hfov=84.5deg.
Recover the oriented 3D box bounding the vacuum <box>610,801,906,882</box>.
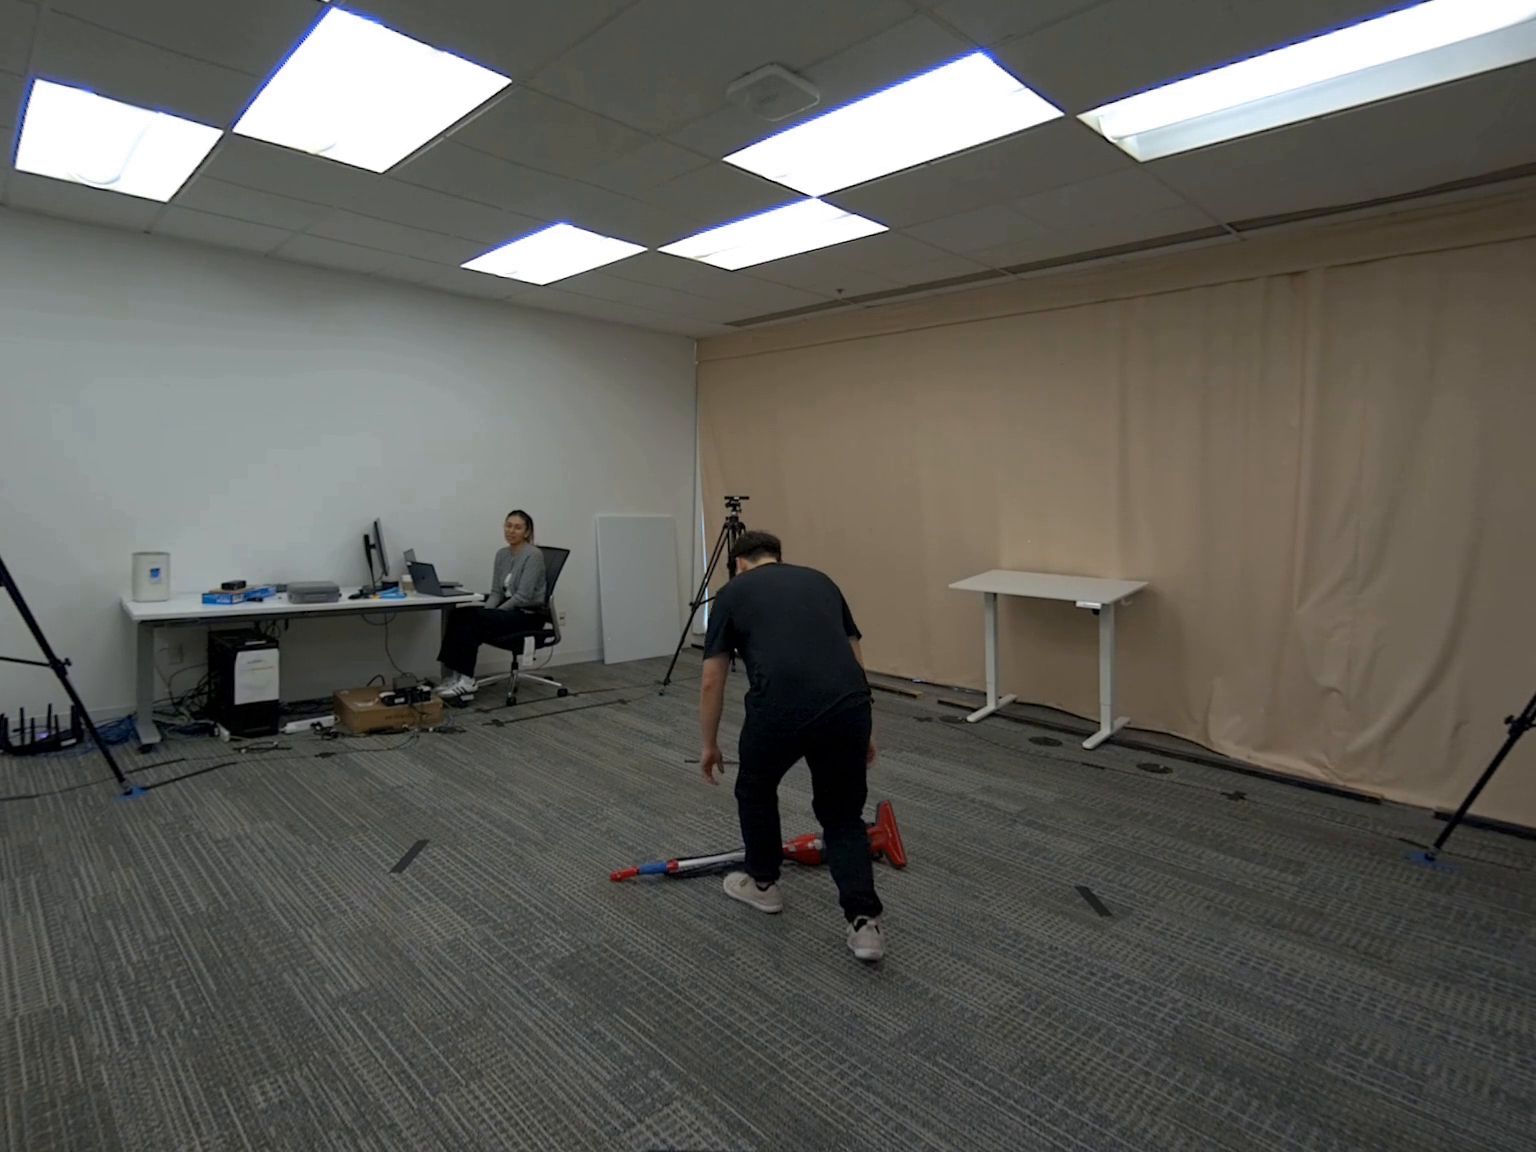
[{"bbox_3d":[-0.052,1.050,3.151,1.039,0.259,0.142,-4,-33,-13],"label":"vacuum"}]
